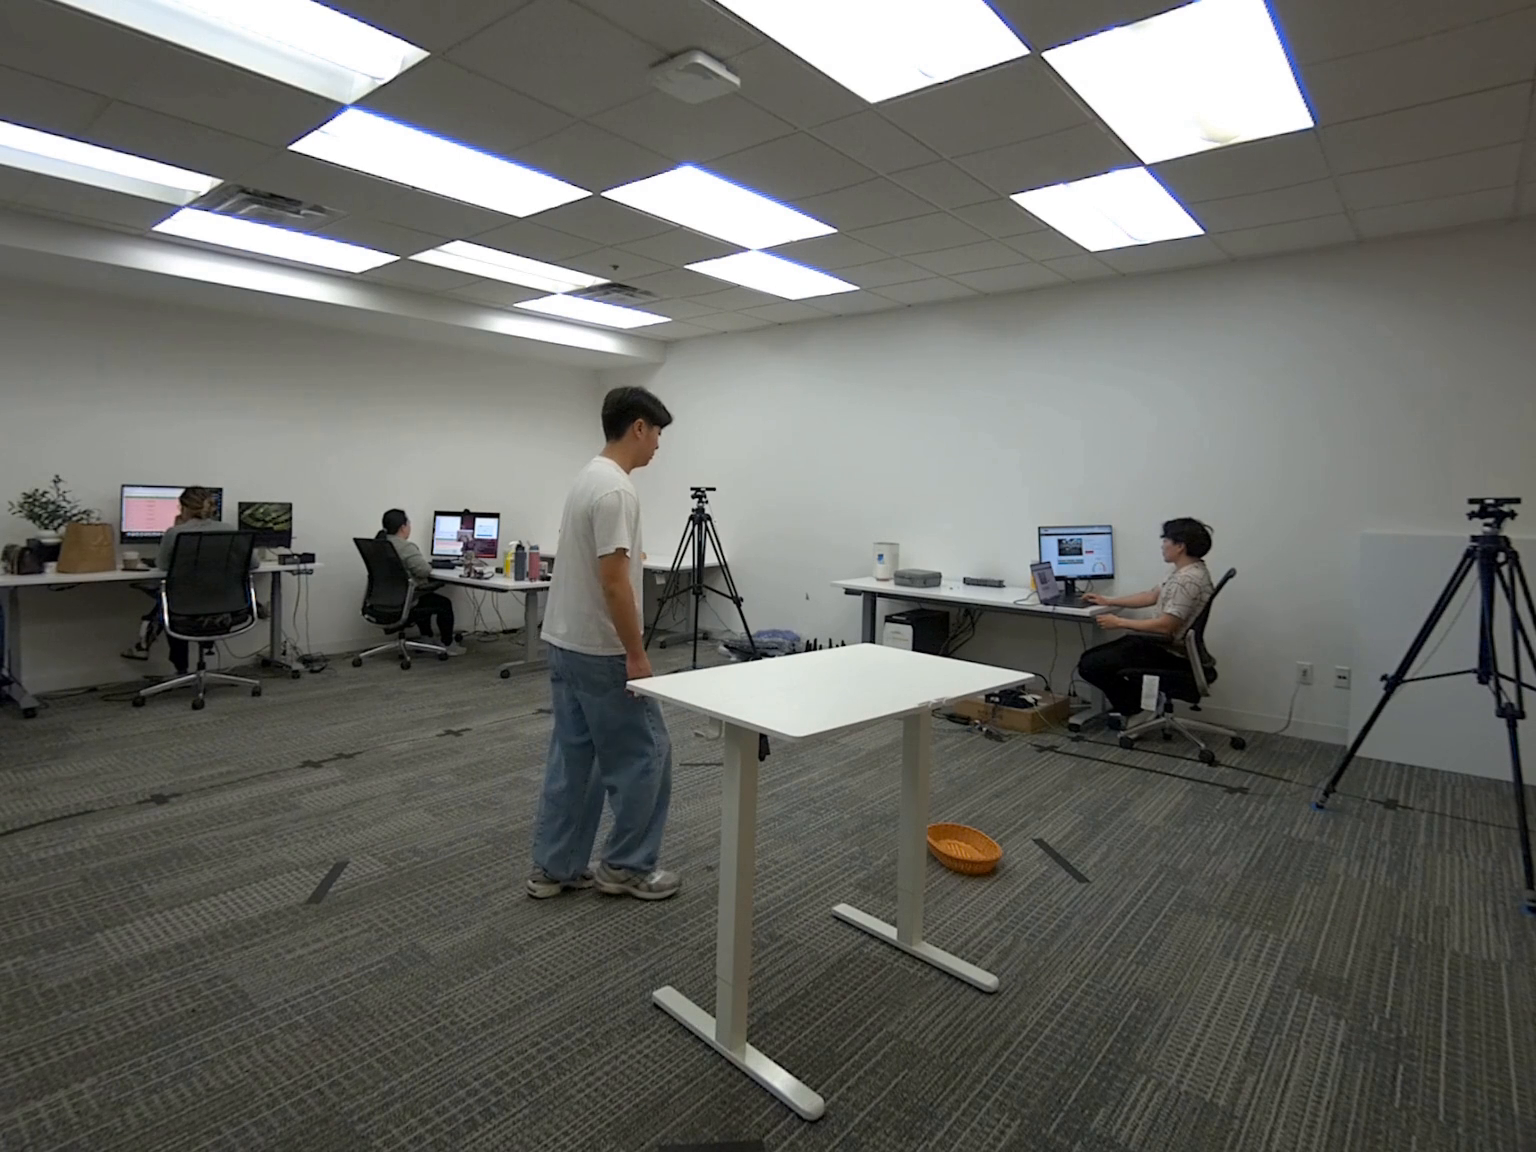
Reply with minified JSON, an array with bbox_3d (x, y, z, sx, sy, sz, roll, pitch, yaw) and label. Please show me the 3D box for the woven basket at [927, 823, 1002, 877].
[{"bbox_3d":[0.728,1.037,3.245,0.249,0.073,0.356,1,6,-13],"label":"woven basket"}]
